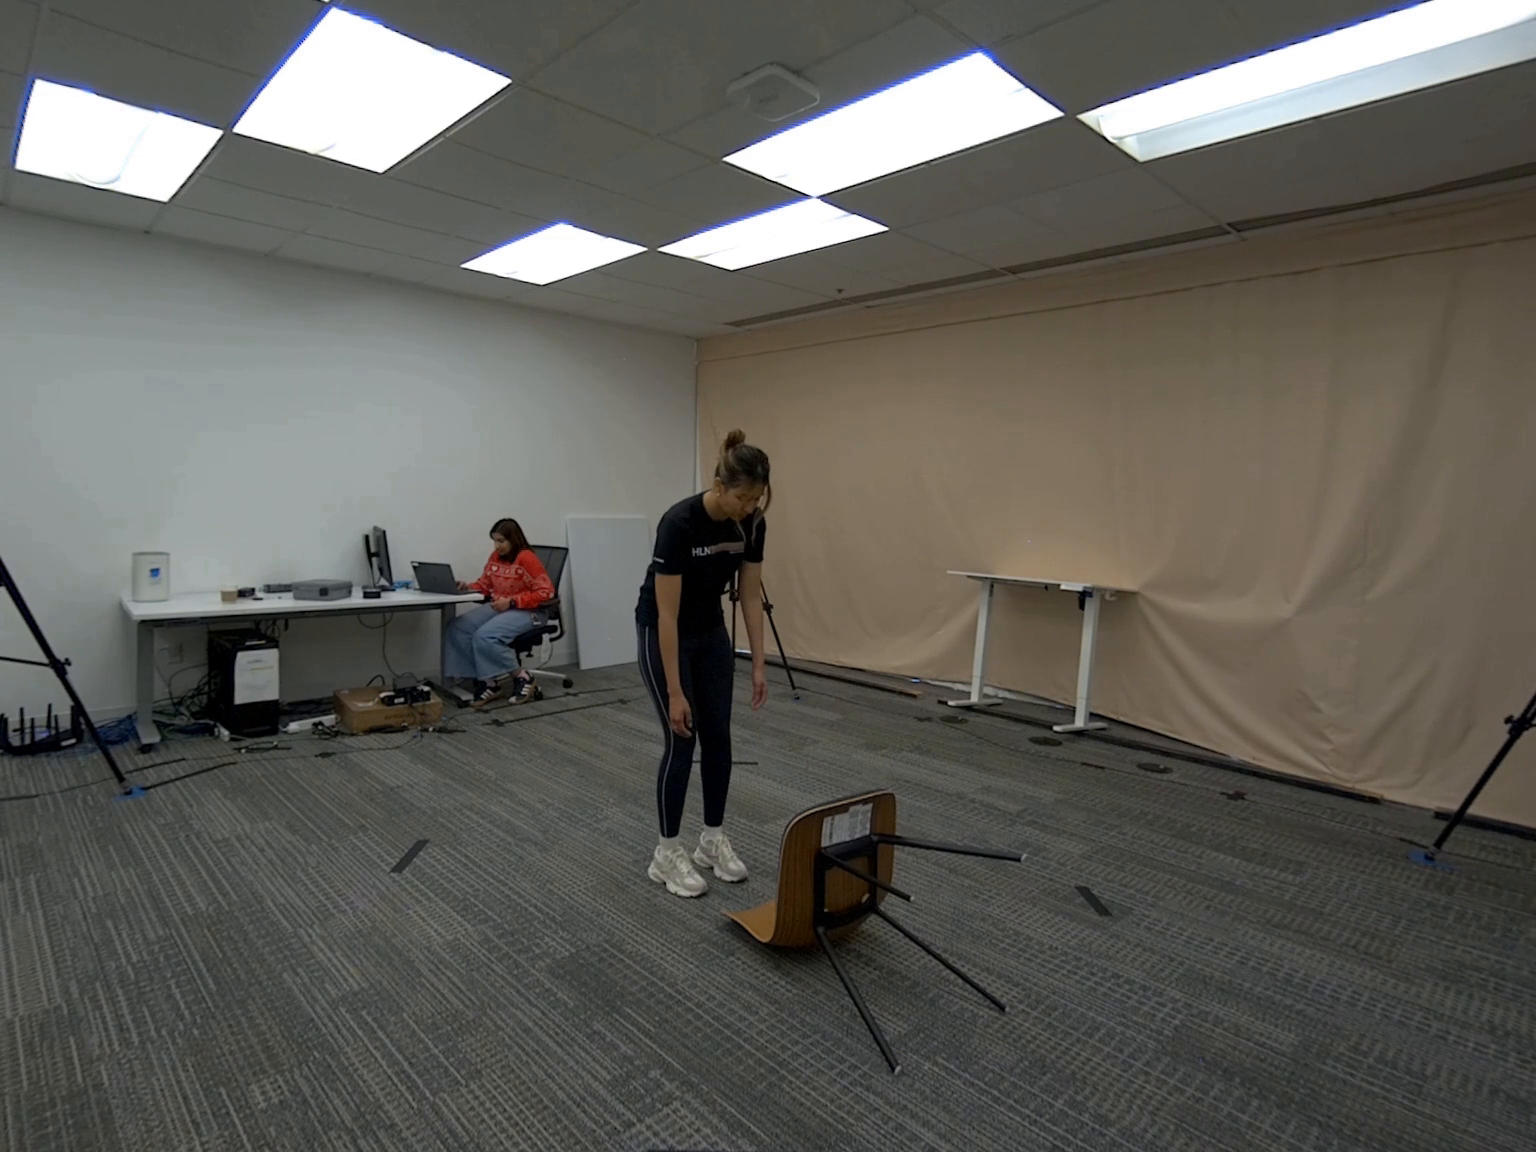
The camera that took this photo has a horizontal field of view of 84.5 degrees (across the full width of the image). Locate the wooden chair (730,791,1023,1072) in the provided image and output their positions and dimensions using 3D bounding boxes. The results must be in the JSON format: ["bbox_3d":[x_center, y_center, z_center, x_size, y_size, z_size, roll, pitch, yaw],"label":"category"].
[{"bbox_3d":[0.233,0.907,2.504,0.467,0.522,0.899,-1,5,-38],"label":"wooden chair"}]
